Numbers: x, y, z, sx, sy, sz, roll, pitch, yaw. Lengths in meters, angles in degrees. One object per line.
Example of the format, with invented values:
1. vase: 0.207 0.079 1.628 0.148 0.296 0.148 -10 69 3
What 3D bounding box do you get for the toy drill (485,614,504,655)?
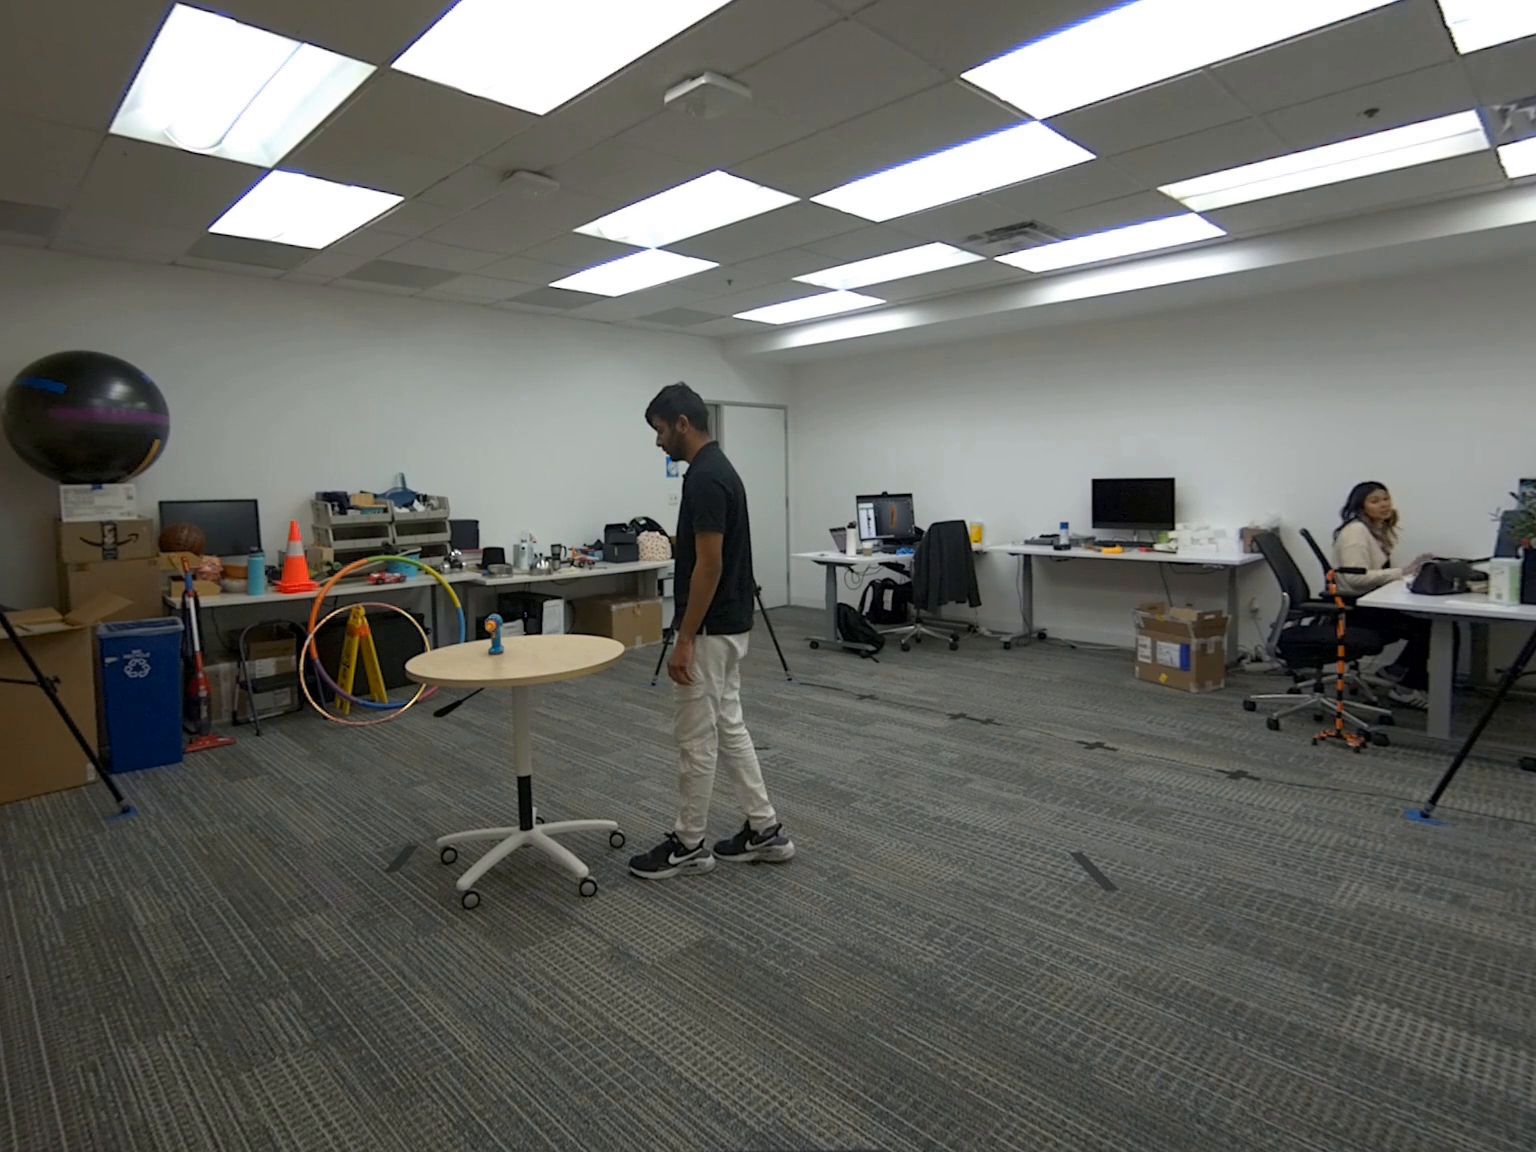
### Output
1. toy drill: -0.984 0.210 3.075 0.061 0.145 0.171 -2 6 -7
